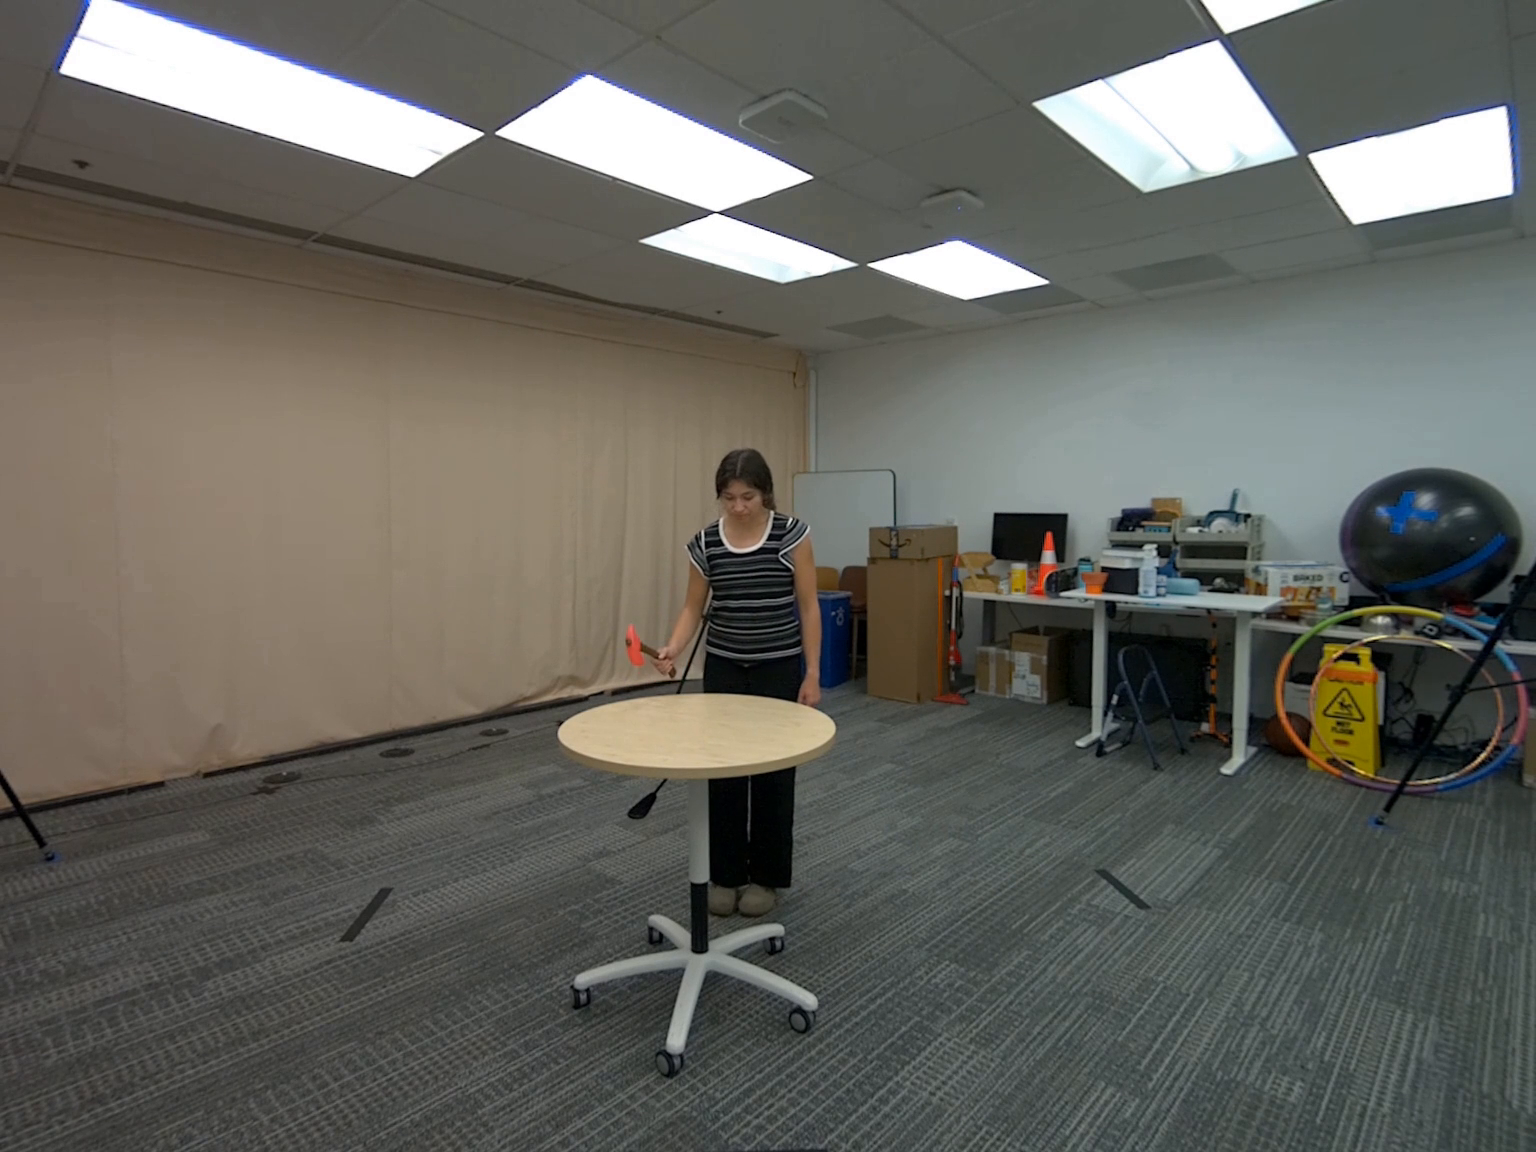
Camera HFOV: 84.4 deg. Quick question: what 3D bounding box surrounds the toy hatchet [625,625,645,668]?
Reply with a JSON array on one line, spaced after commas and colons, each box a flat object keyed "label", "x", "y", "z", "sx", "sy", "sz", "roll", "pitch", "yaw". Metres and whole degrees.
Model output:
[{"label": "toy hatchet", "x": -0.367, "y": 0.282, "z": 2.666, "sx": 0.030, "sy": 0.134, "sz": 0.261, "roll": -20, "pitch": -47, "yaw": 15}]
